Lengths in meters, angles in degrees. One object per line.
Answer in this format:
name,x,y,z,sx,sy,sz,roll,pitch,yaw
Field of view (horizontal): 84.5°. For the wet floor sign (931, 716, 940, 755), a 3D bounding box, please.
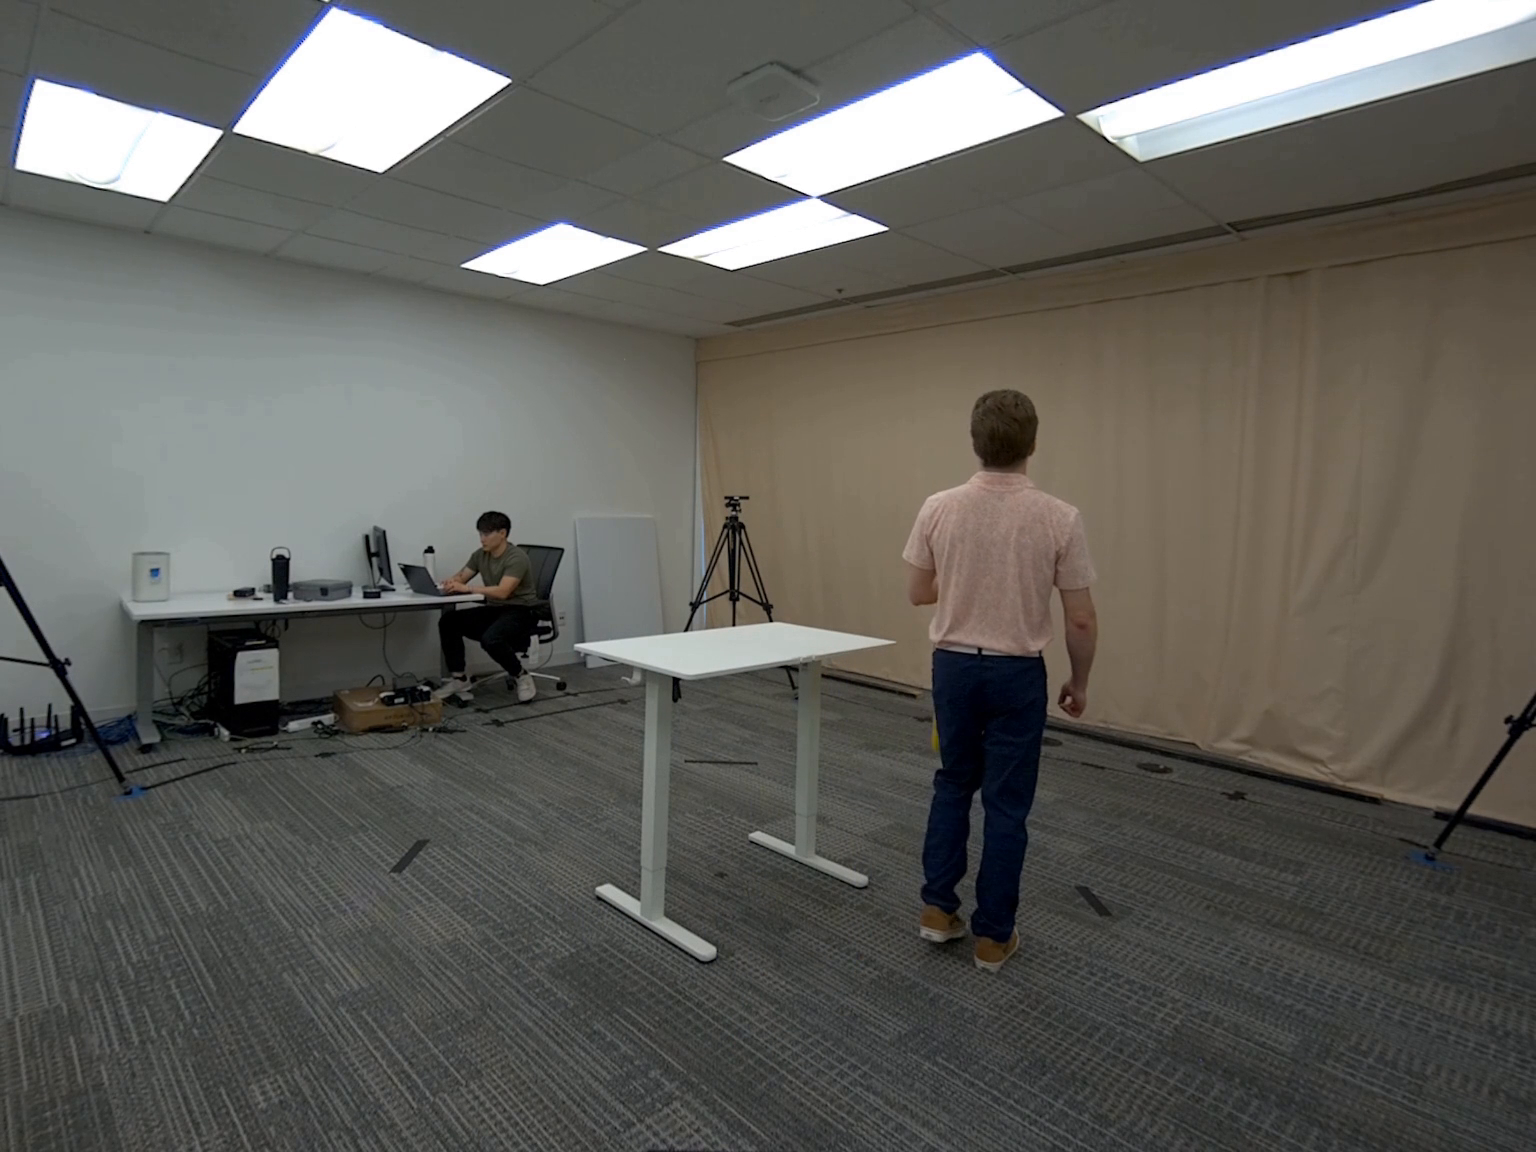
wet floor sign,0.709,0.340,2.989,0.290,0.640,0.284,-5,11,2
